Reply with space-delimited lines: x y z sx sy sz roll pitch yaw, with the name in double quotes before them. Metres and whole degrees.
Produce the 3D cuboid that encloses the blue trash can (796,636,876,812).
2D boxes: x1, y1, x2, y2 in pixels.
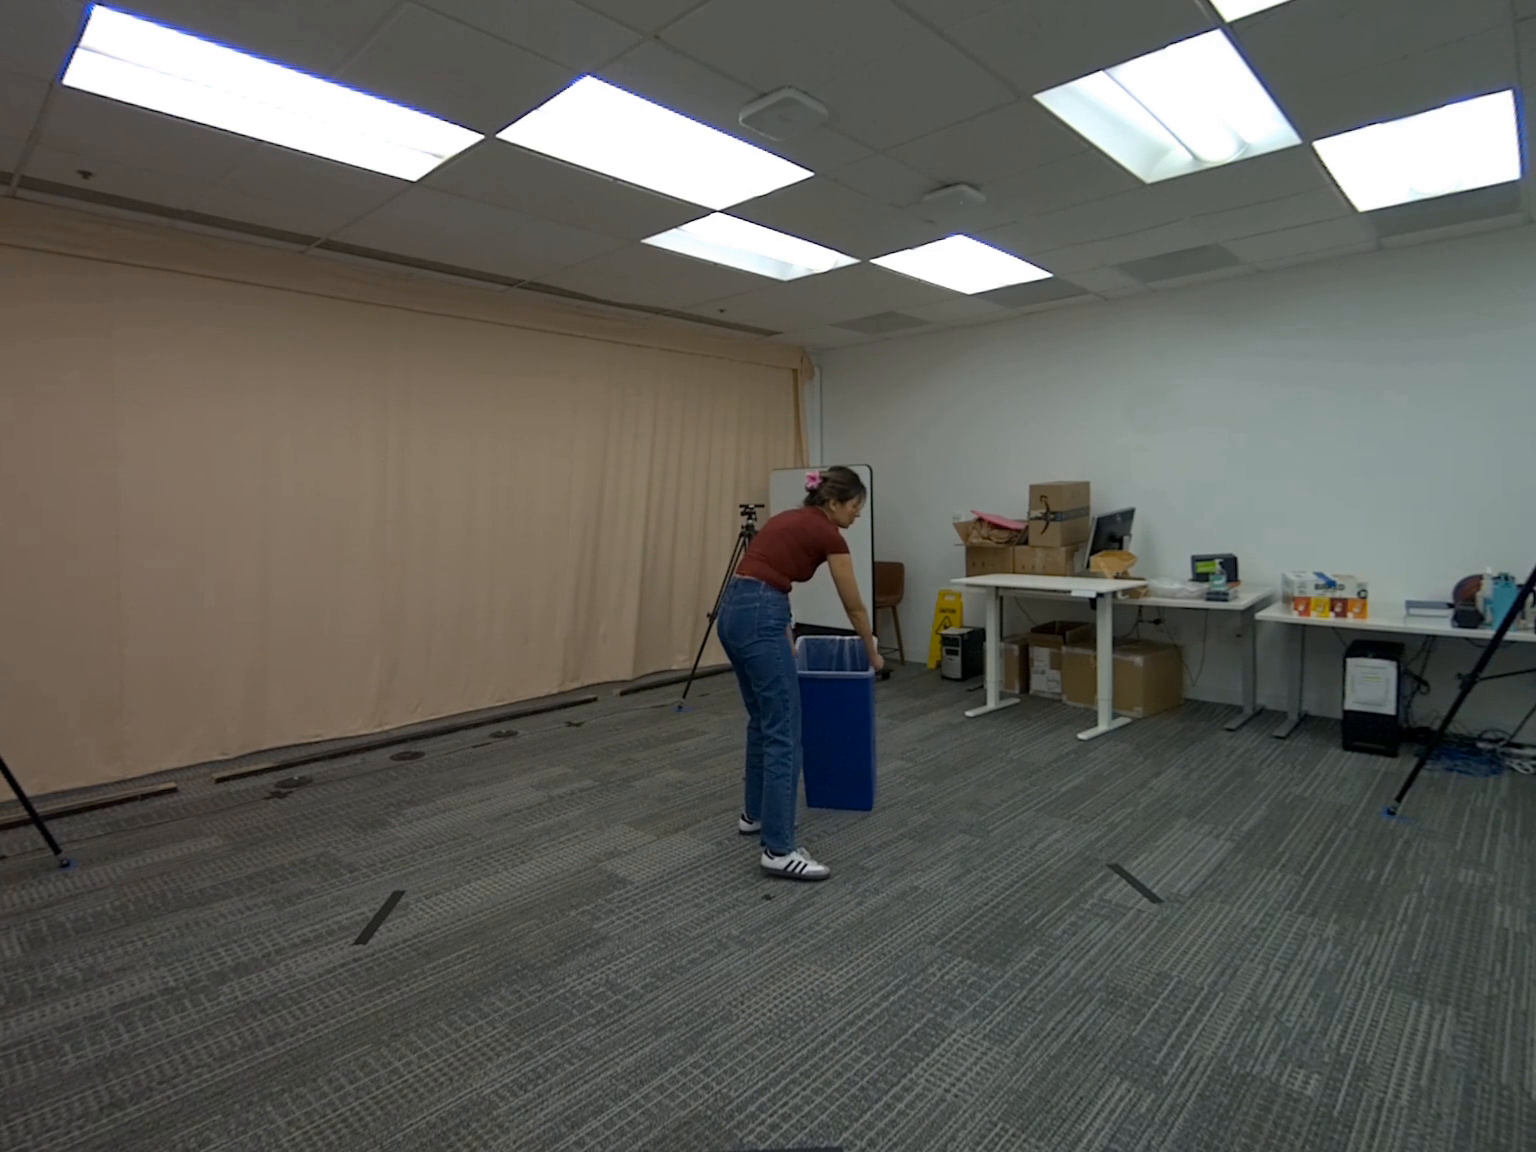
"blue trash can" 0.332 0.683 3.845 0.384 0.705 0.373 0 18 13
